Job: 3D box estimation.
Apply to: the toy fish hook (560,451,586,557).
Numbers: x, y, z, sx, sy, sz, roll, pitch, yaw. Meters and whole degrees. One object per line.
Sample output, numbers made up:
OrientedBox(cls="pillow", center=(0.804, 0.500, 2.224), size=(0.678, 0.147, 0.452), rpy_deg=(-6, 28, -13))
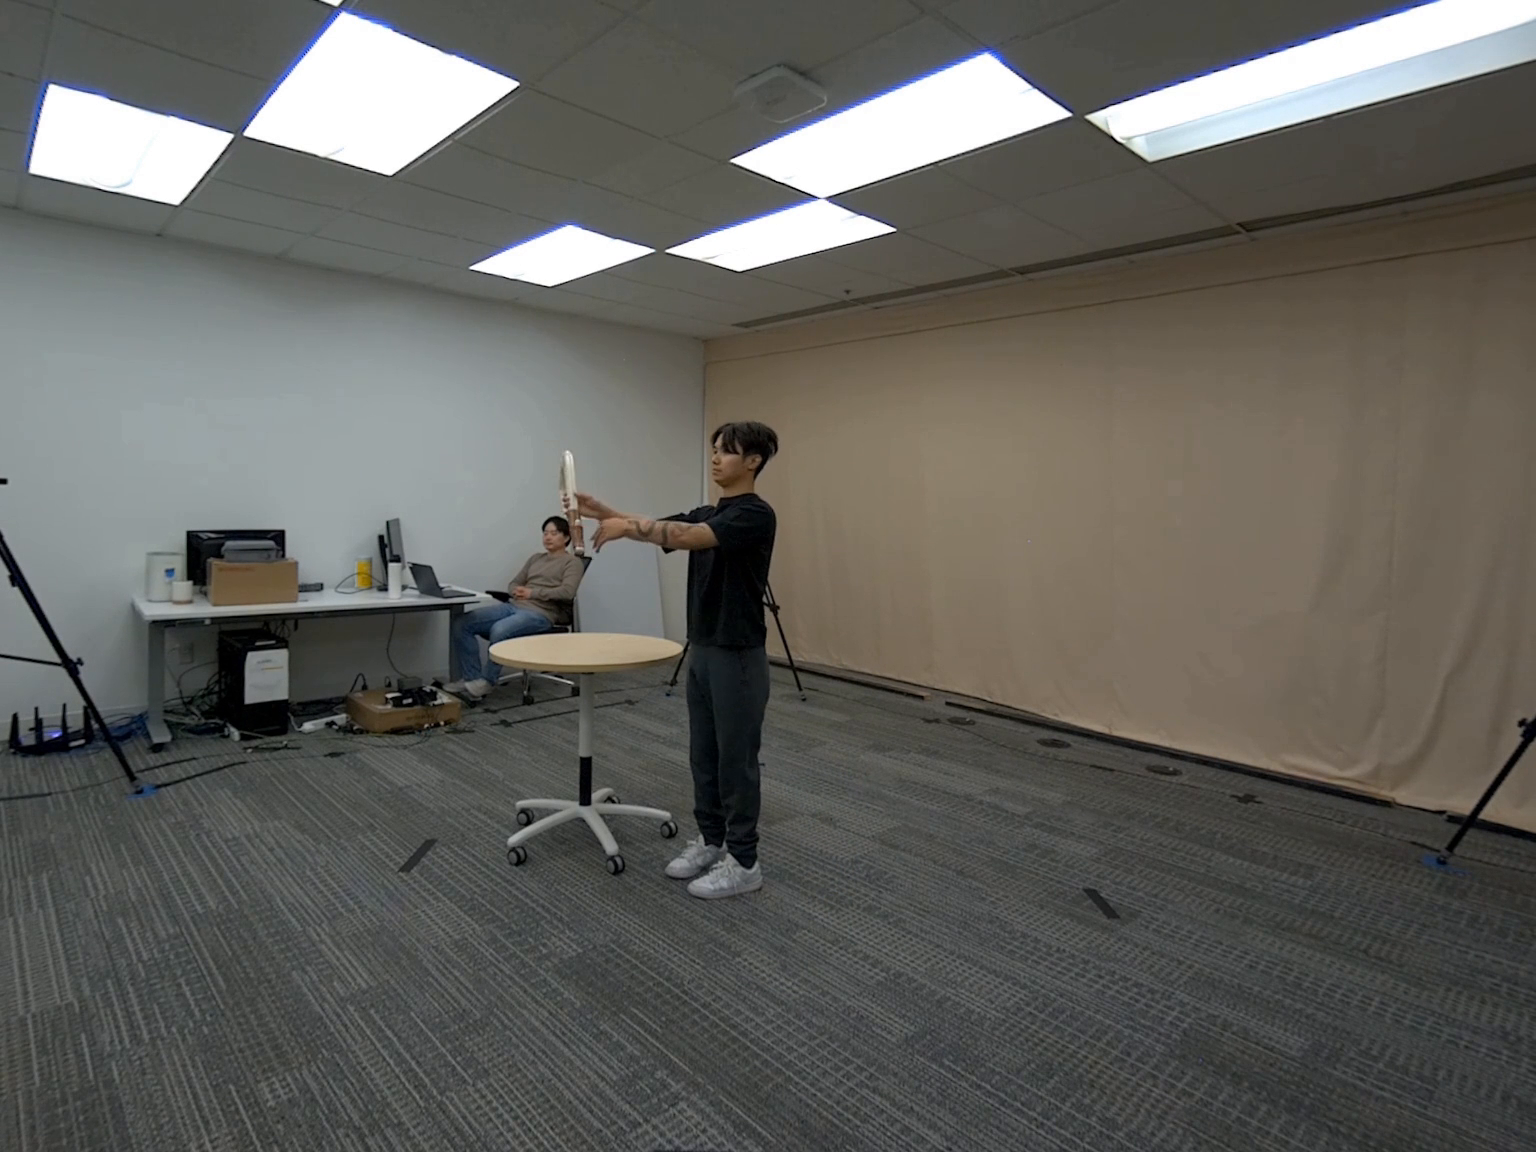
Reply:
OrientedBox(cls="toy fish hook", center=(-0.676, -0.219, 2.888), size=(0.048, 0.221, 0.521), rpy_deg=(-2, 47, -17))
